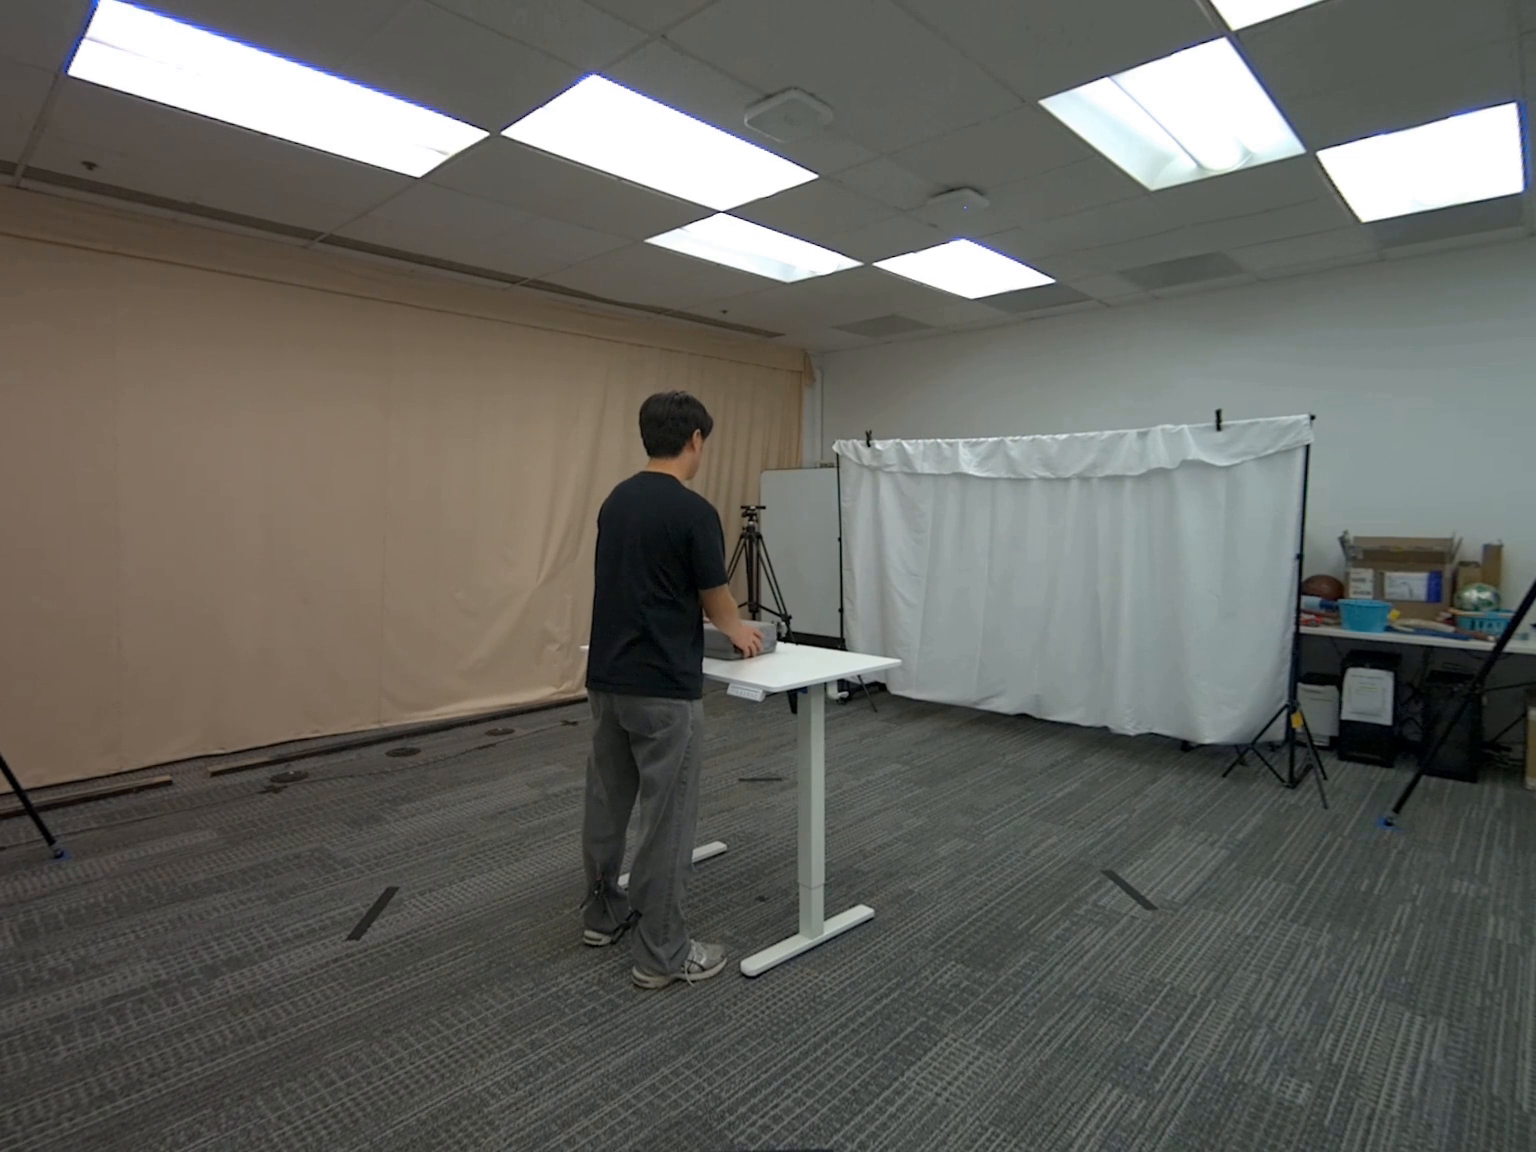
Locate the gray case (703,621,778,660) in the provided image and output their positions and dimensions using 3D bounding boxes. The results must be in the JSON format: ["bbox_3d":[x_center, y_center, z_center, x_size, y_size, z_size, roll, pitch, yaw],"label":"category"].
[{"bbox_3d":[-0.134,0.215,2.934,0.255,0.103,0.297,-5,6,-44],"label":"gray case"}]
